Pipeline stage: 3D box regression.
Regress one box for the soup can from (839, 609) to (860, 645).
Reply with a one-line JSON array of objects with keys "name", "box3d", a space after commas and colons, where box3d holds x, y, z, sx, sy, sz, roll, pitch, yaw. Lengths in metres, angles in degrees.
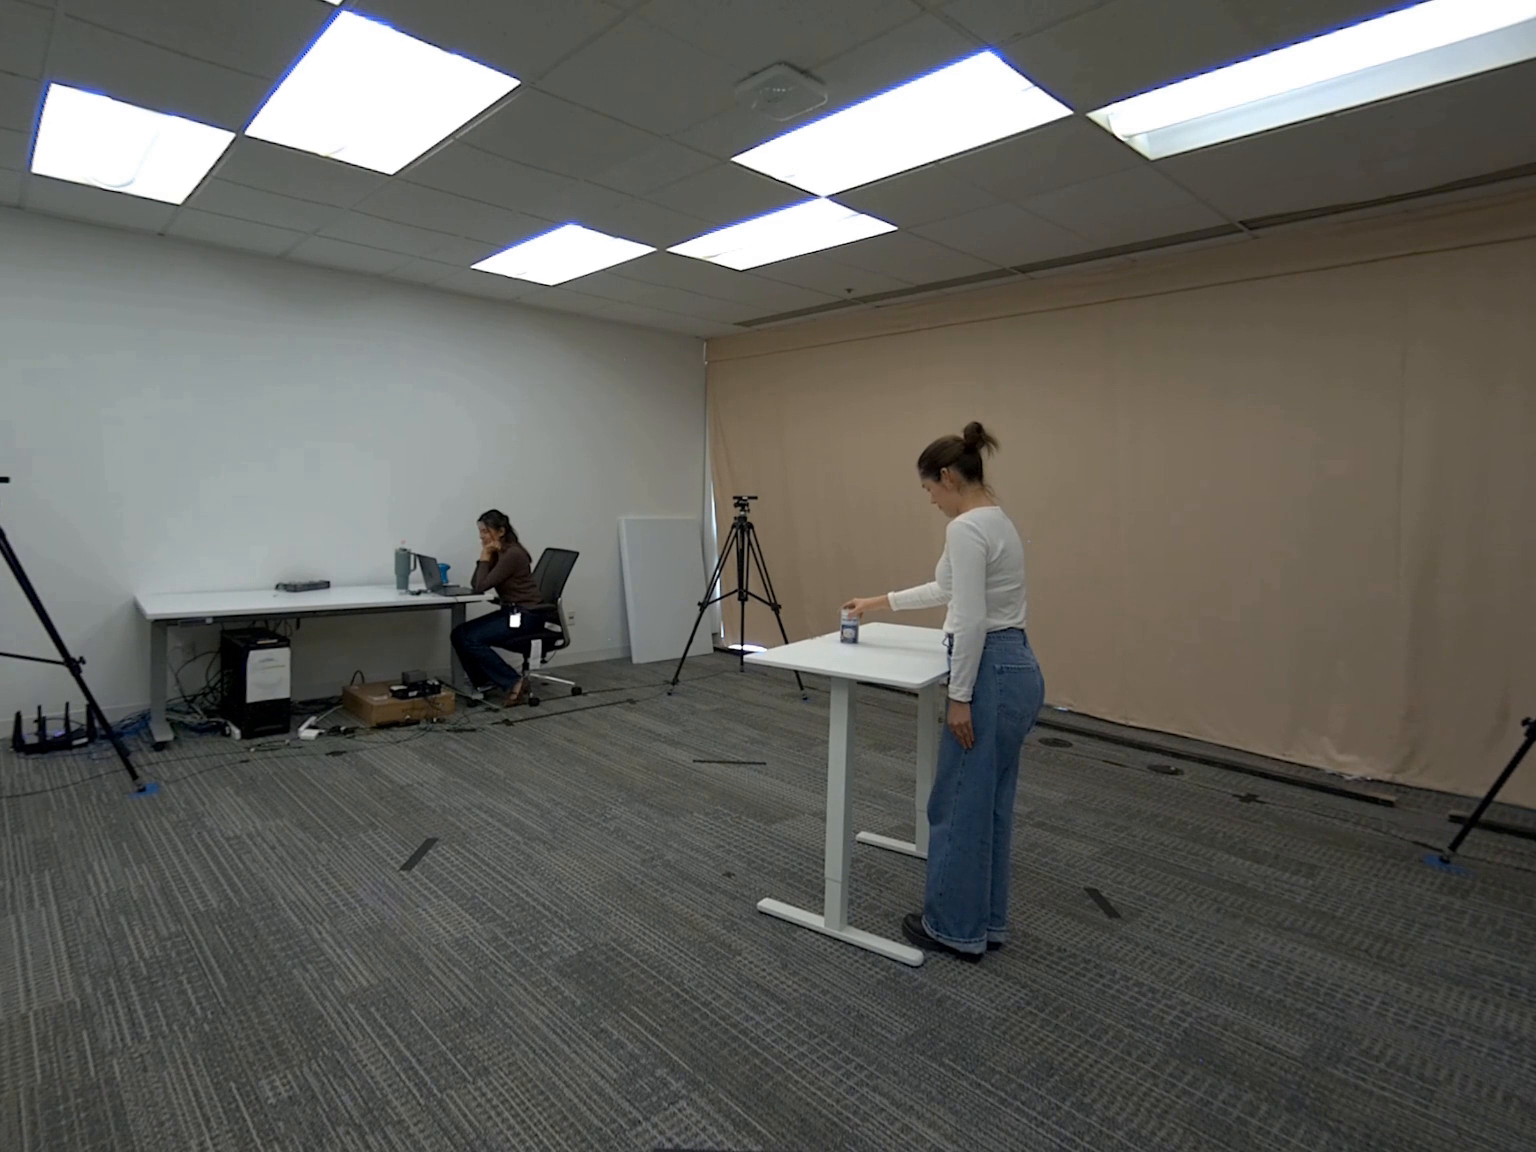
[{"name": "soup can", "box3d": [0.279, 0.176, 3.029, 0.067, 0.121, 0.067, 3, 5, -2]}]
